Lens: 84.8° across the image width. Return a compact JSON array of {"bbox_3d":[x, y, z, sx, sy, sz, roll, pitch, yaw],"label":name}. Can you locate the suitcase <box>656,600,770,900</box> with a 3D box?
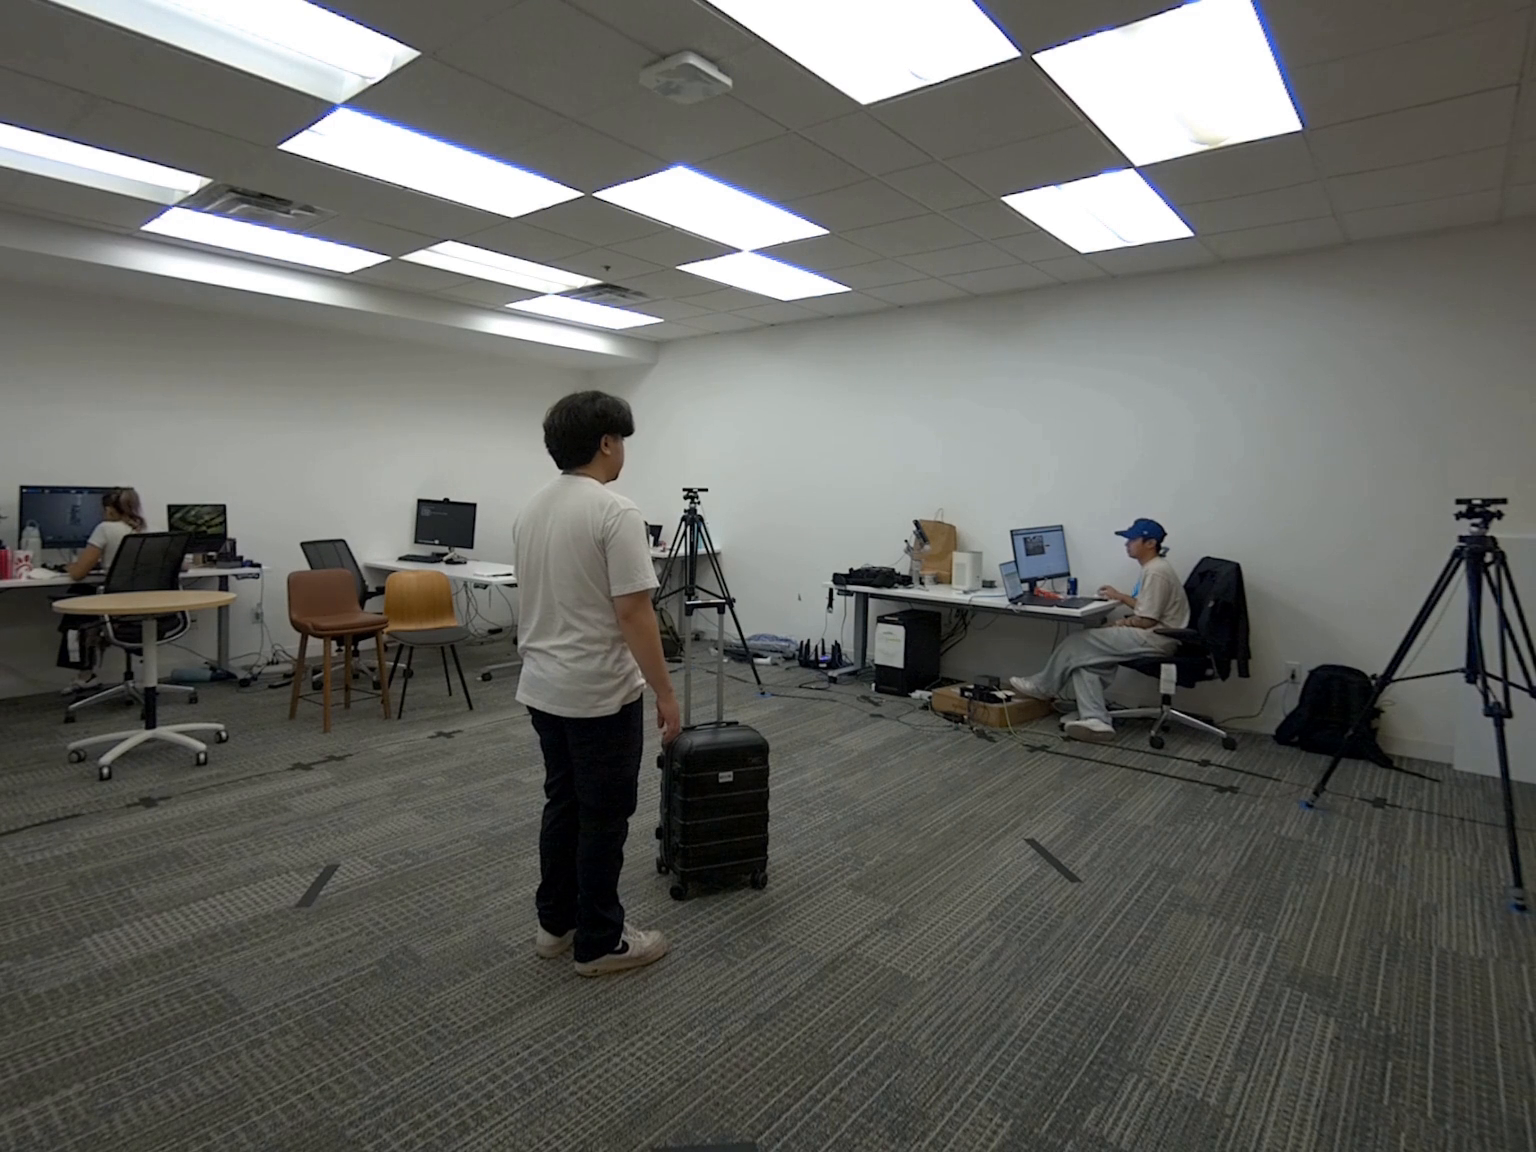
[{"bbox_3d":[-0.196,0.603,3.008,0.376,0.975,0.263,-1,4,-22],"label":"suitcase"}]
